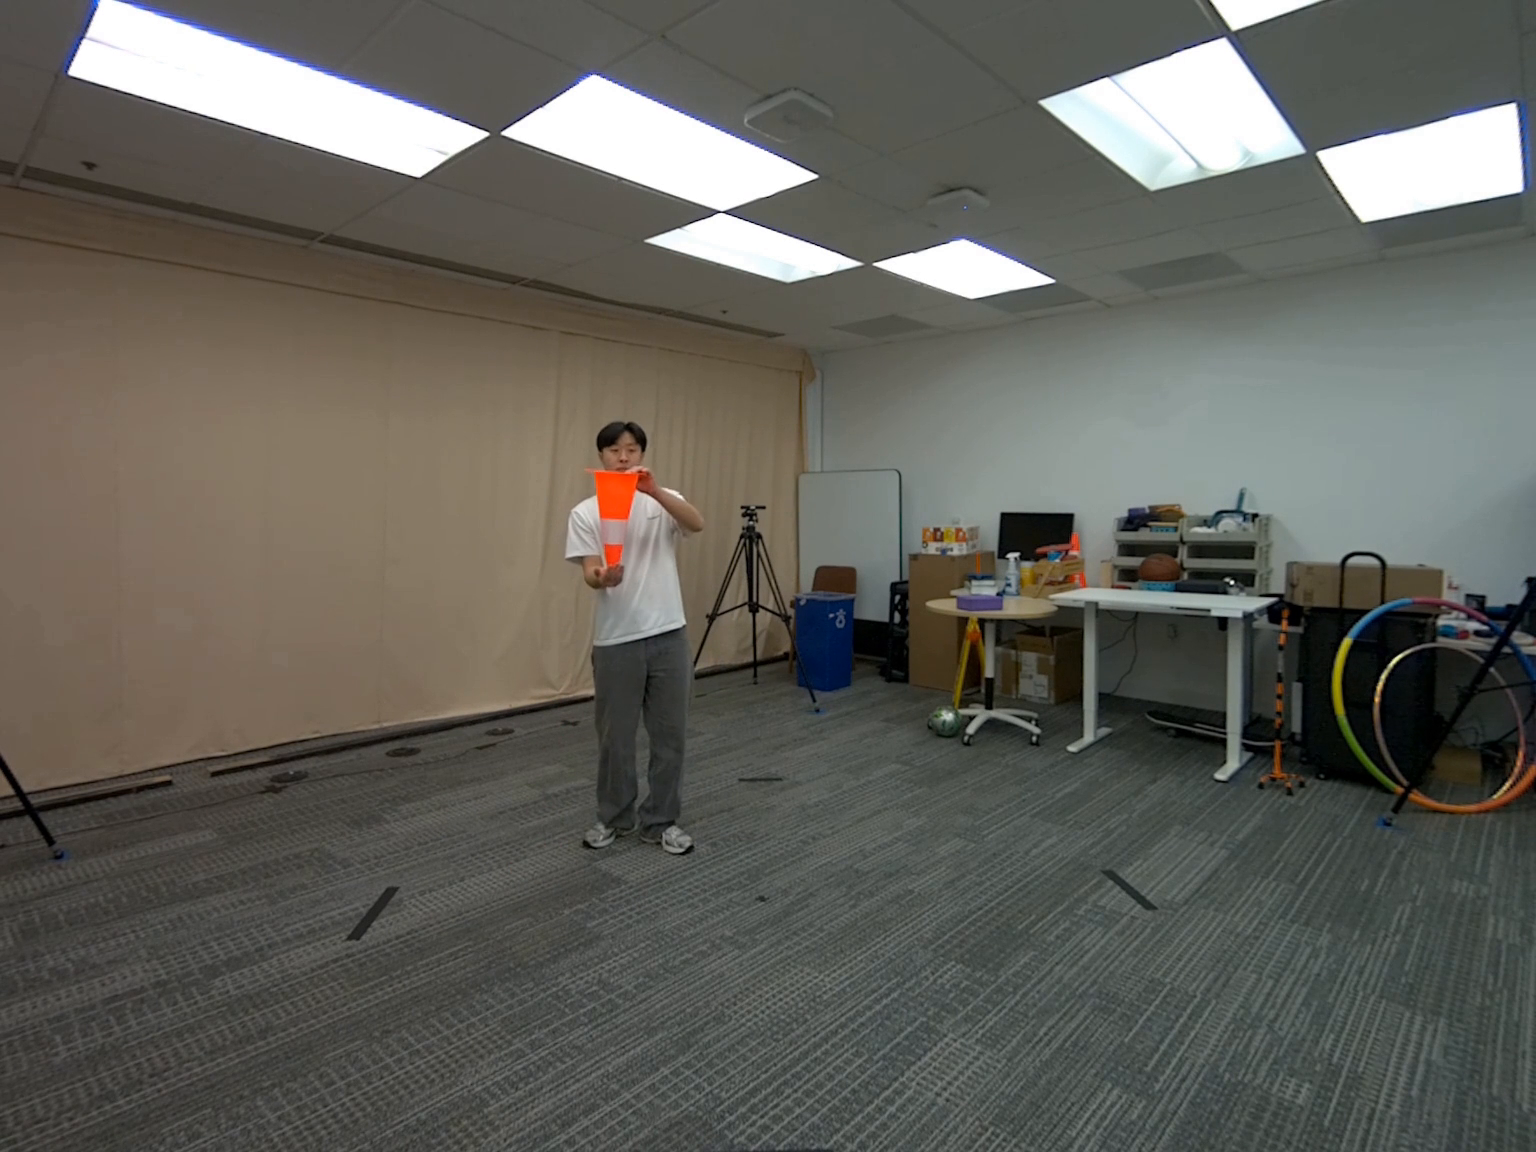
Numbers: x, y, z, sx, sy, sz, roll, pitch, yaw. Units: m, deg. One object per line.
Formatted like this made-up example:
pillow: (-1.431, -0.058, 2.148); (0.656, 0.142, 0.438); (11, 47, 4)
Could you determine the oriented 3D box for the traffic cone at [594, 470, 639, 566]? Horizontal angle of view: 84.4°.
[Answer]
traffic cone: (-0.550, -0.175, 3.034); (0.205, 0.383, 0.204); (2, 3, 5)
